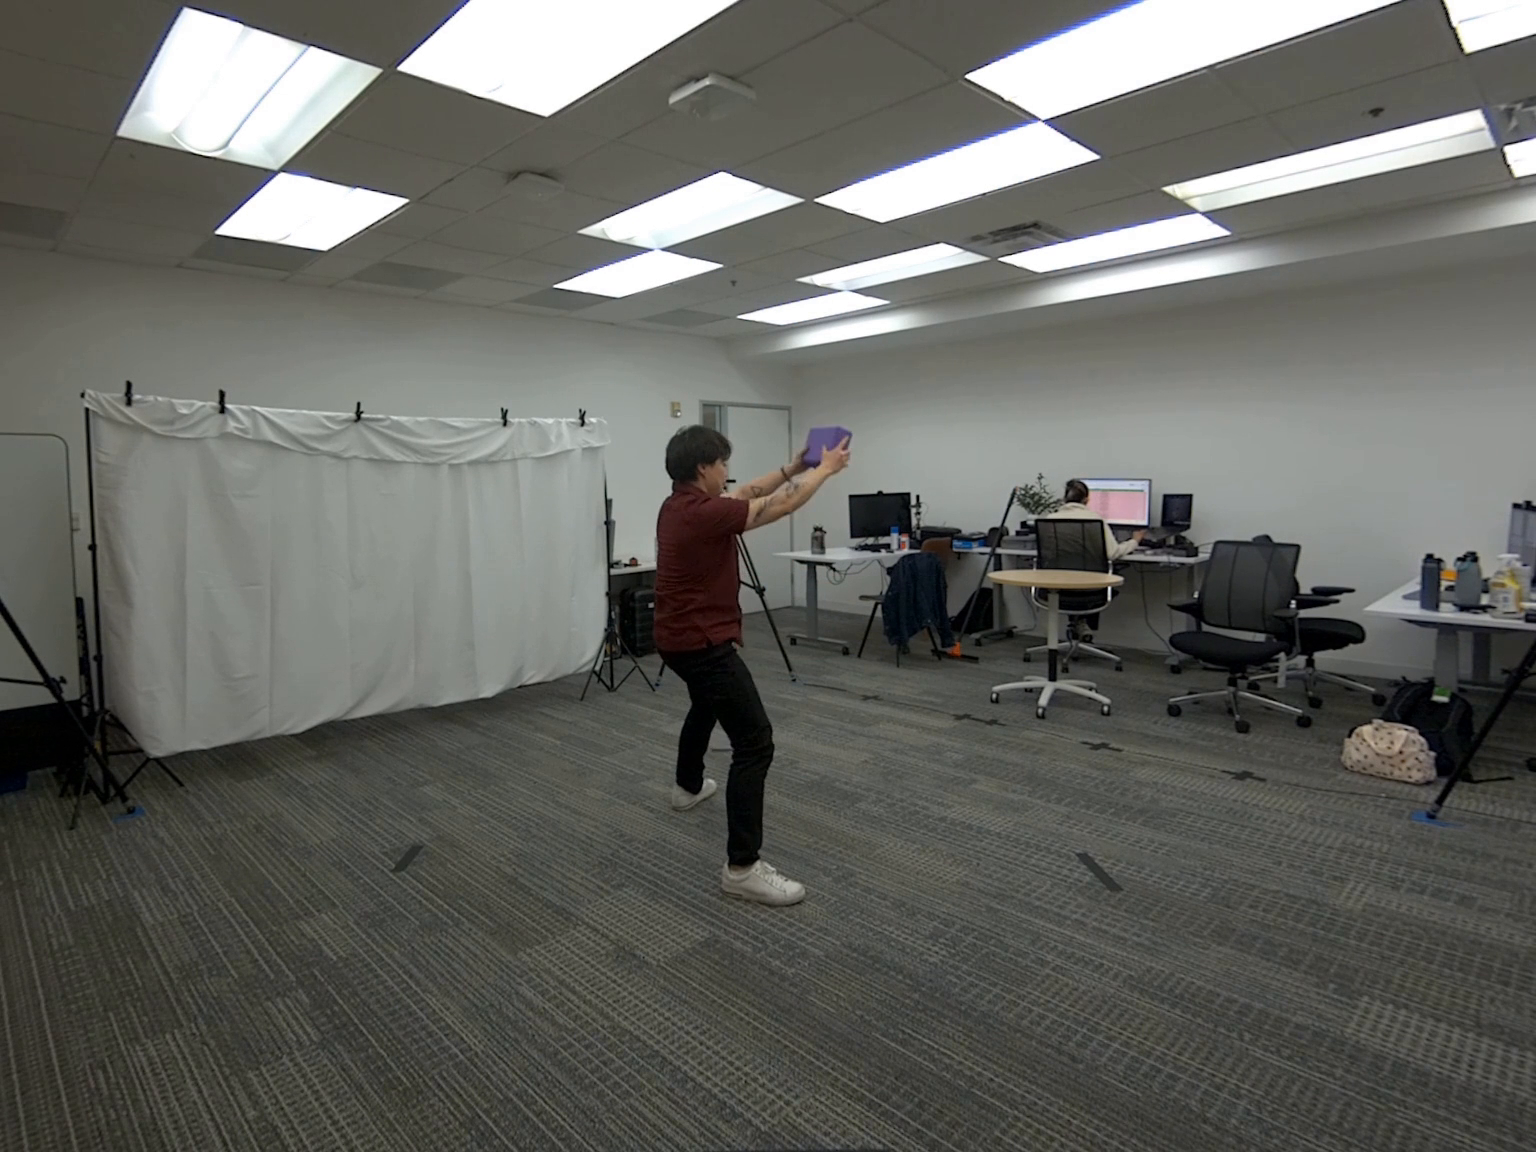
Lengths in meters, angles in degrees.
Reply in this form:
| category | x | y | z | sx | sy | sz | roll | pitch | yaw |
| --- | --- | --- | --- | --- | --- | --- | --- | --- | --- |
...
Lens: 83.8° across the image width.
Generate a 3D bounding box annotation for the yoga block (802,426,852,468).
| category | x | y | z | sx | sy | sz | roll | pitch | yaw |
| --- | --- | --- | --- | --- | --- | --- | --- | --- | --- |
| yoga block | 0.220 | -0.496 | 3.348 | 0.075 | 0.148 | 0.234 | 12 | 5 | -17 |
